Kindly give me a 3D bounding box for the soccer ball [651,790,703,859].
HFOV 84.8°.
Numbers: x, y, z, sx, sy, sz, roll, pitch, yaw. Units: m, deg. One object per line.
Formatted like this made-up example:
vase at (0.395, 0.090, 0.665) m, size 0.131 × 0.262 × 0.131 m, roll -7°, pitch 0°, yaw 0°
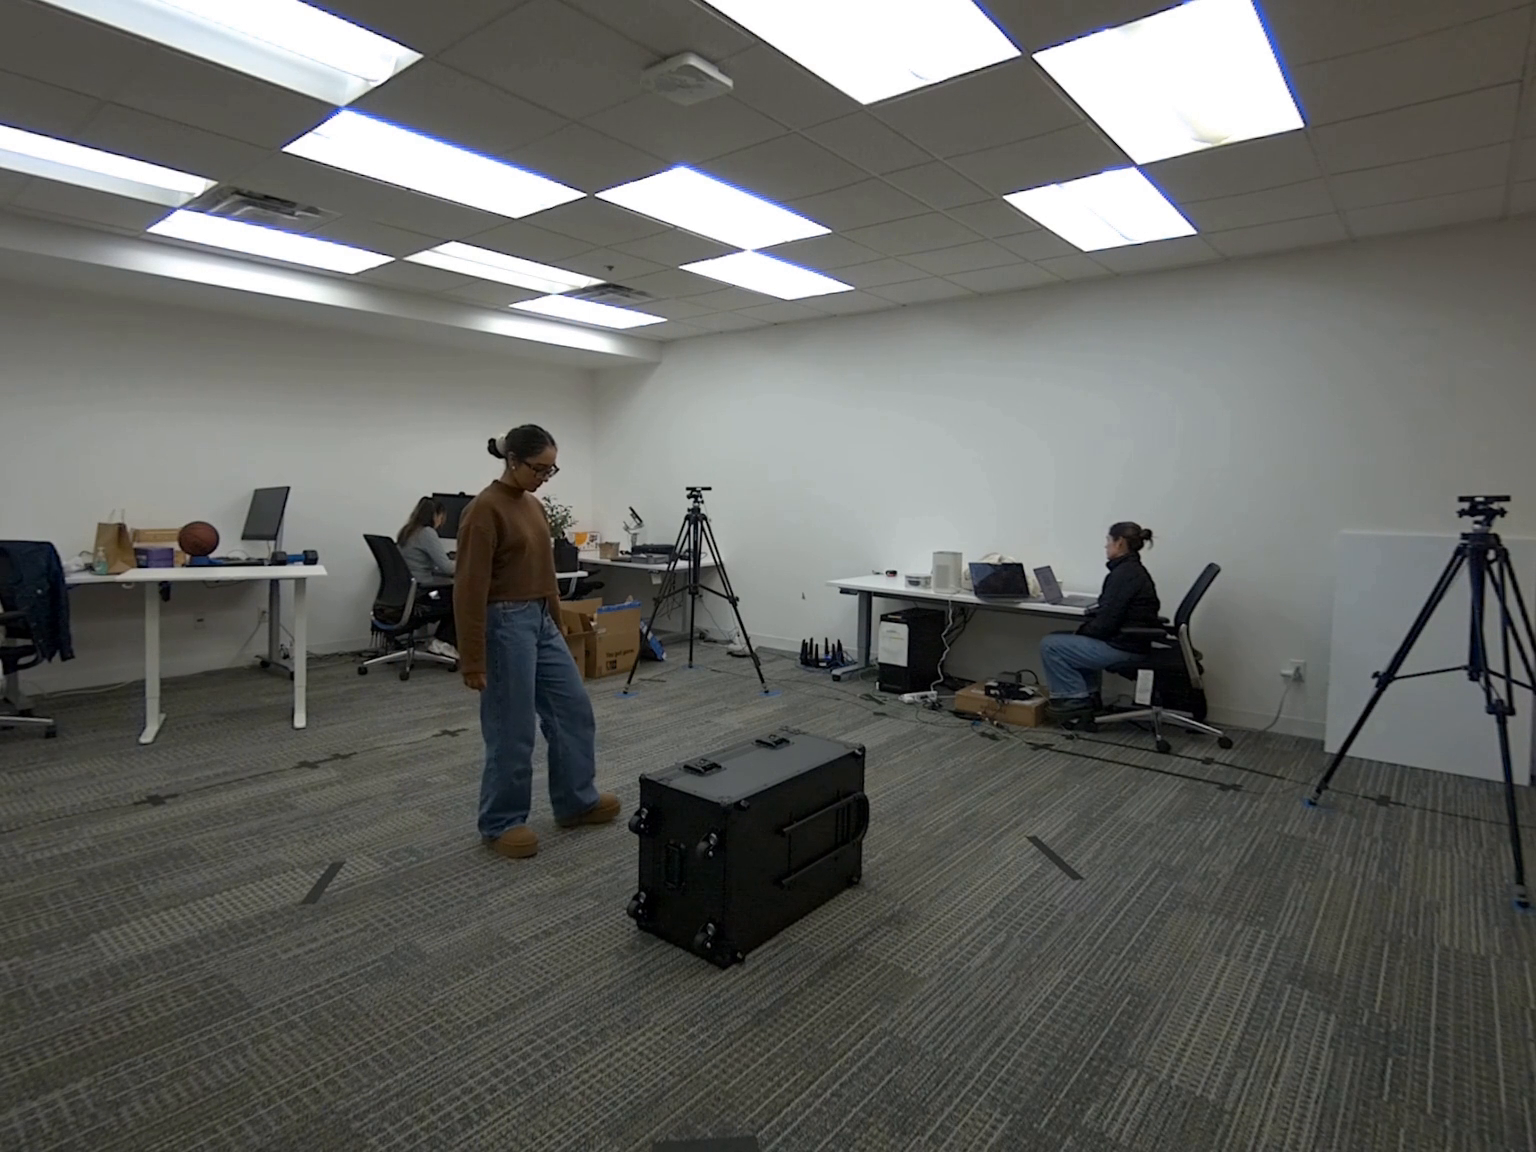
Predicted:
soccer ball at (-0.349, 0.952, 3.238) m, size 0.187 × 0.187 × 0.188 m, roll 1°, pitch 4°, yaw -2°
